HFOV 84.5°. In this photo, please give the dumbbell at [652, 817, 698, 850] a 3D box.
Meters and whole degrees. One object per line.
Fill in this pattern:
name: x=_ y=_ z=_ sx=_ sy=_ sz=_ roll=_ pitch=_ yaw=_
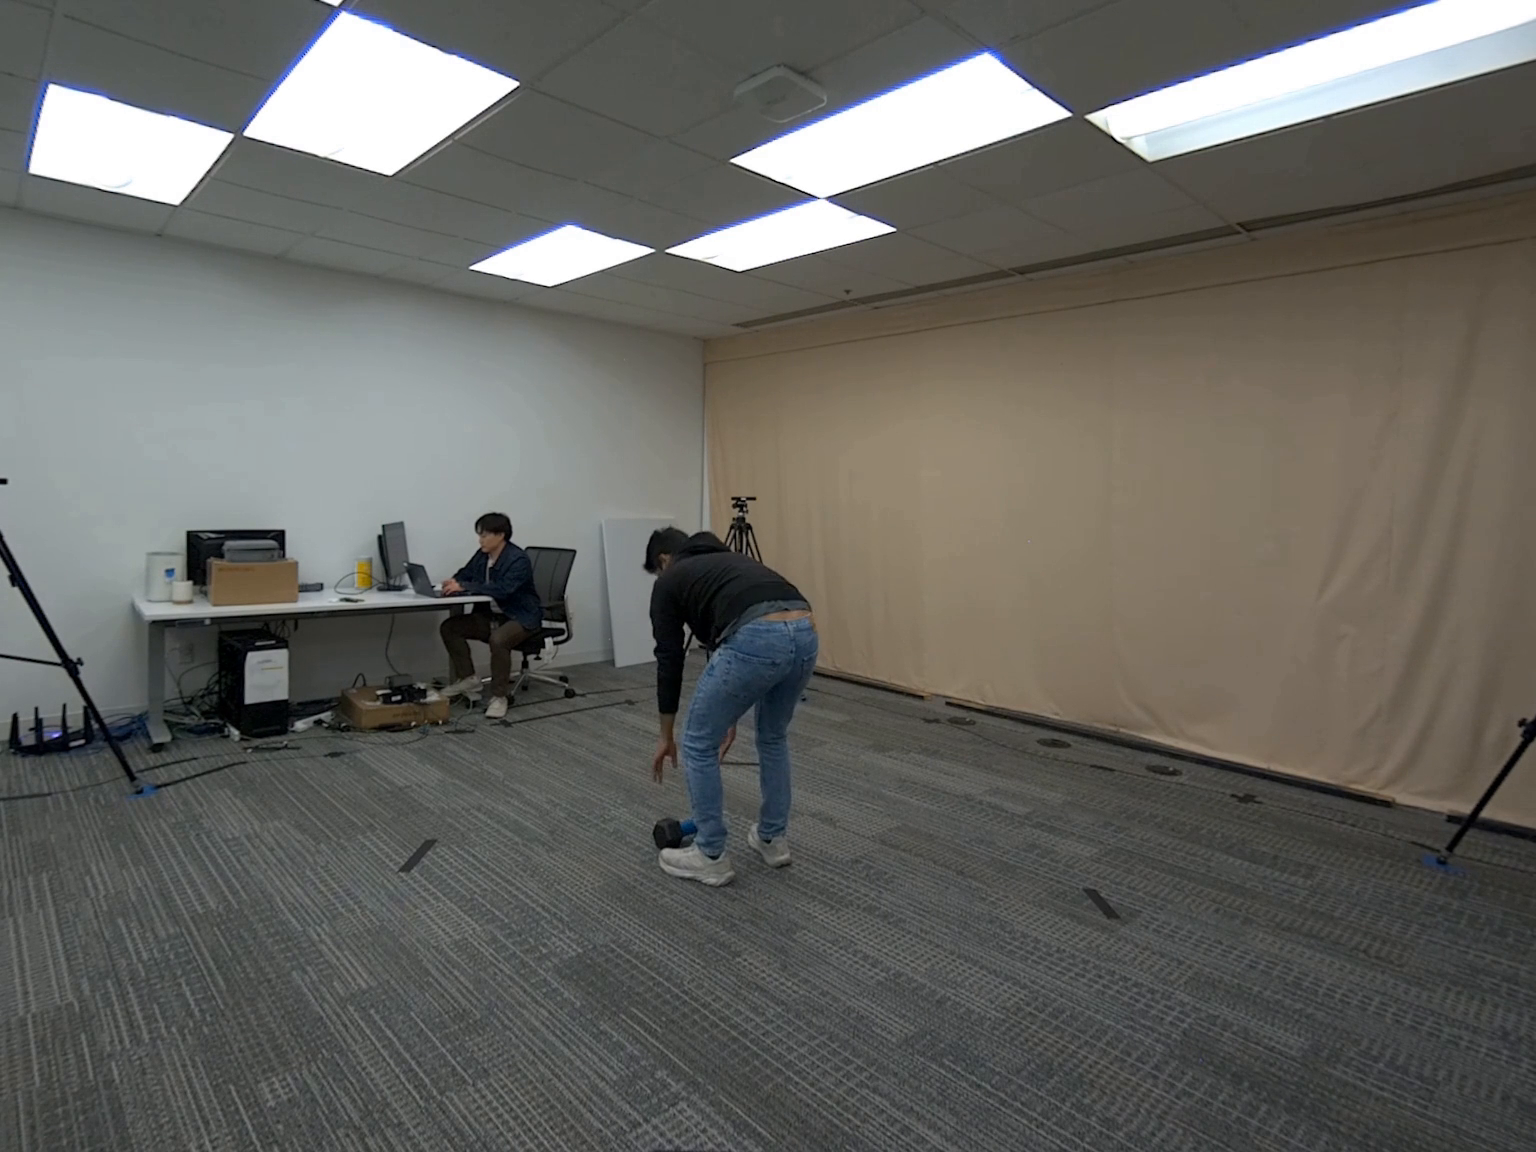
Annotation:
dumbbell: x=-0.327 y=1.021 z=3.405 sx=0.287 sy=0.125 sz=0.109 roll=-3 pitch=-25 yaw=-43
